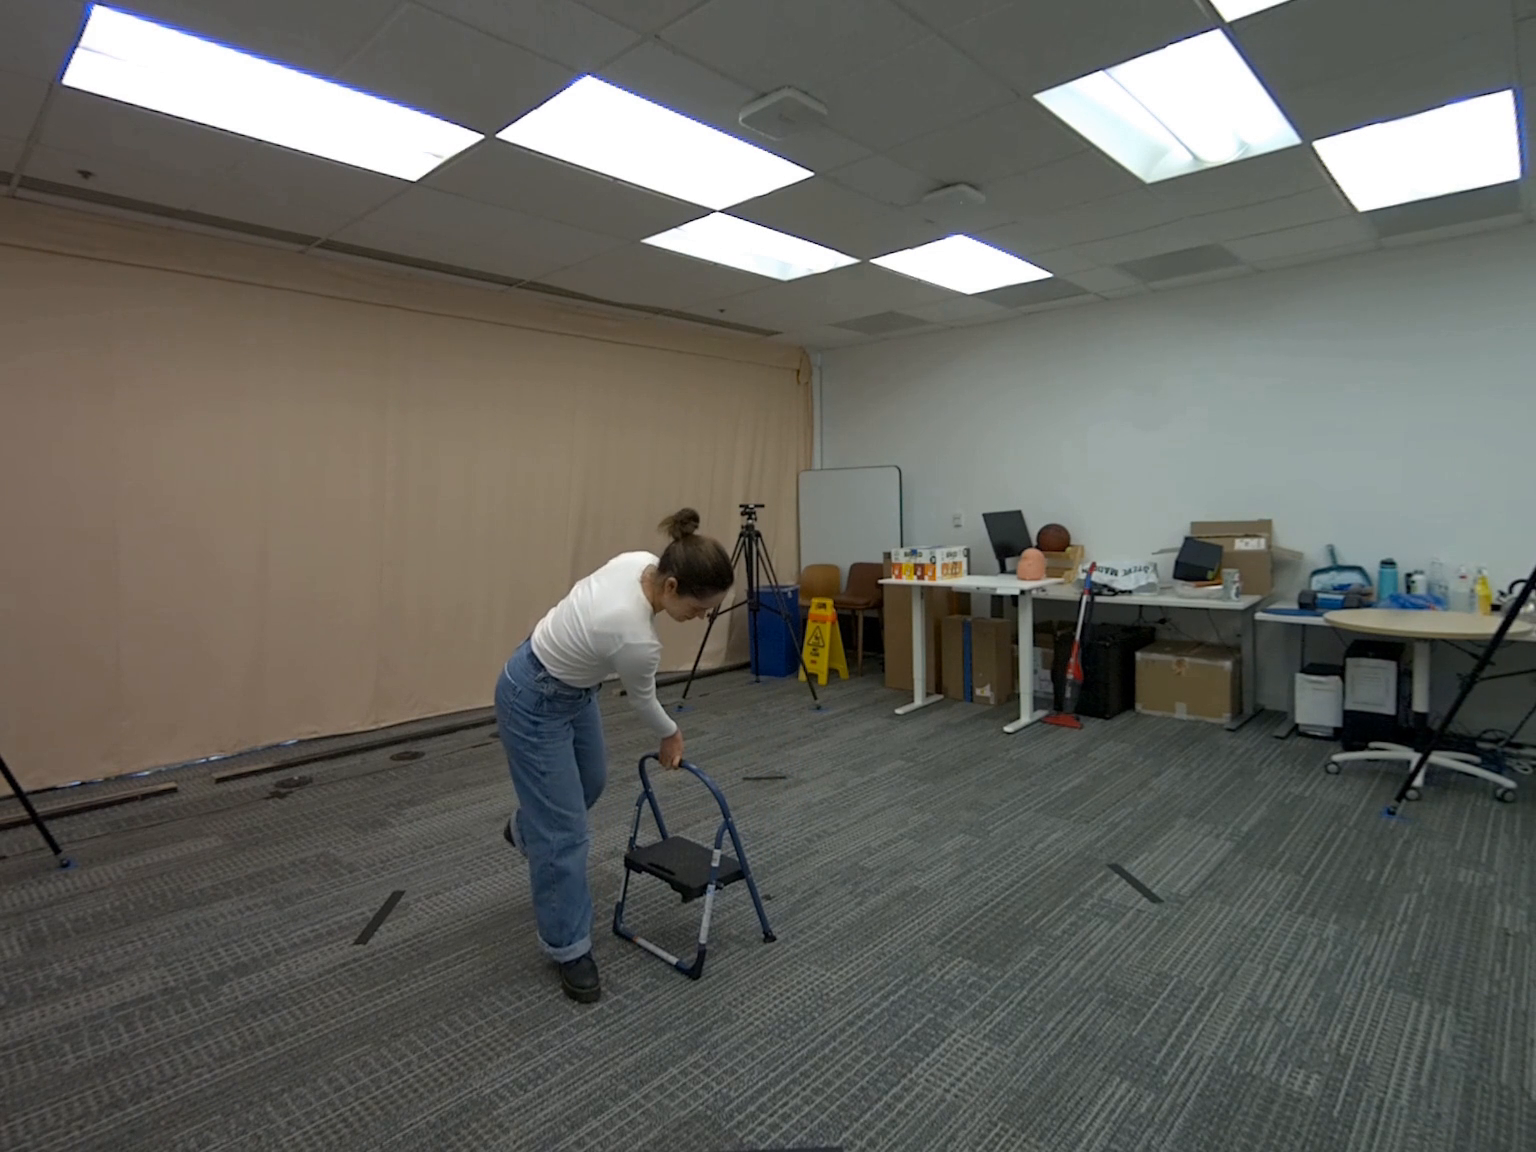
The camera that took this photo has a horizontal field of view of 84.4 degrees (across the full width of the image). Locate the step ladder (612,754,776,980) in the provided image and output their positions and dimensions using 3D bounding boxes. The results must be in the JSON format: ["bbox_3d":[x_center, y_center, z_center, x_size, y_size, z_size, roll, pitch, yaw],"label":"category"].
[{"bbox_3d":[-0.251,0.868,2.714,0.445,0.605,0.338,2,4,43],"label":"step ladder"}]
